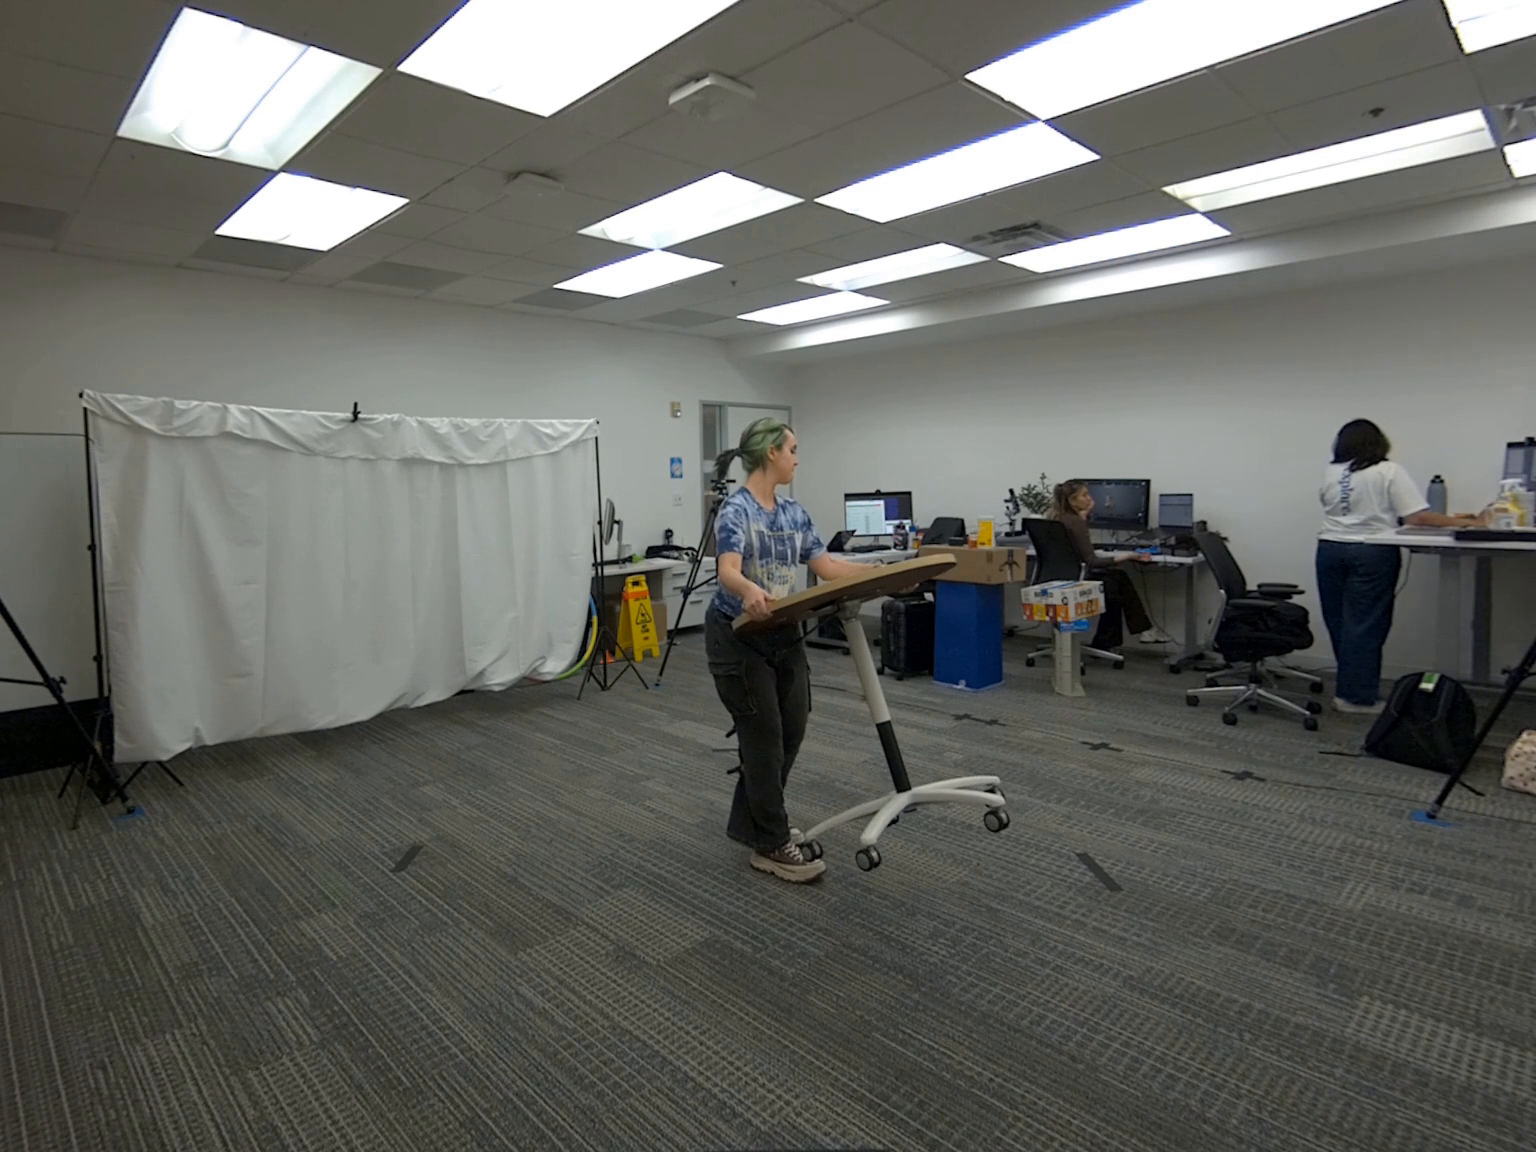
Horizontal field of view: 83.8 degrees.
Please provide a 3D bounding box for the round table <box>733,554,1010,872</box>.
[{"bbox_3d":[0.369,0.440,2.751,0.762,0.804,0.757,-16,-10,-4],"label":"round table"}]
